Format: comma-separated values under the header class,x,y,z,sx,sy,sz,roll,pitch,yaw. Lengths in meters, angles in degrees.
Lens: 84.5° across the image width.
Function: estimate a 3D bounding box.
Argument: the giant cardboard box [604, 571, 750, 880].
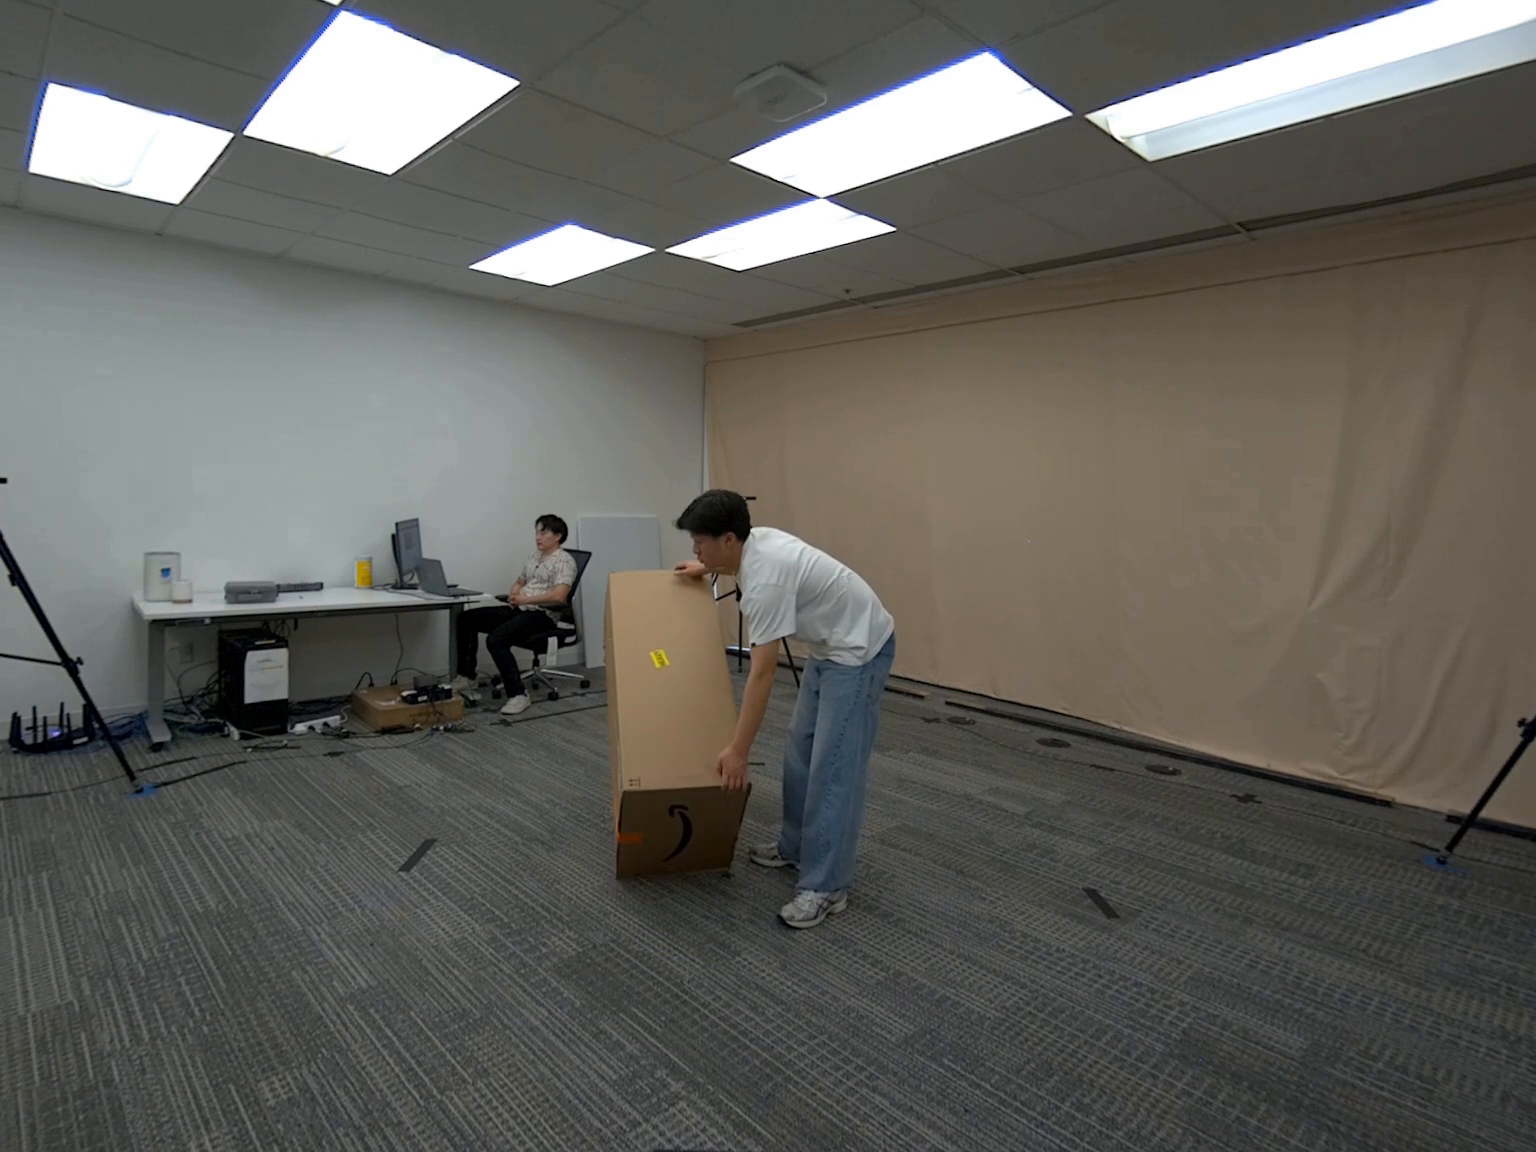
class,x,y,z,sx,sy,sz,roll,pitch,yaw
giant cardboard box,-0.400,0.552,3.273,0.422,0.567,1.053,0,42,-13
